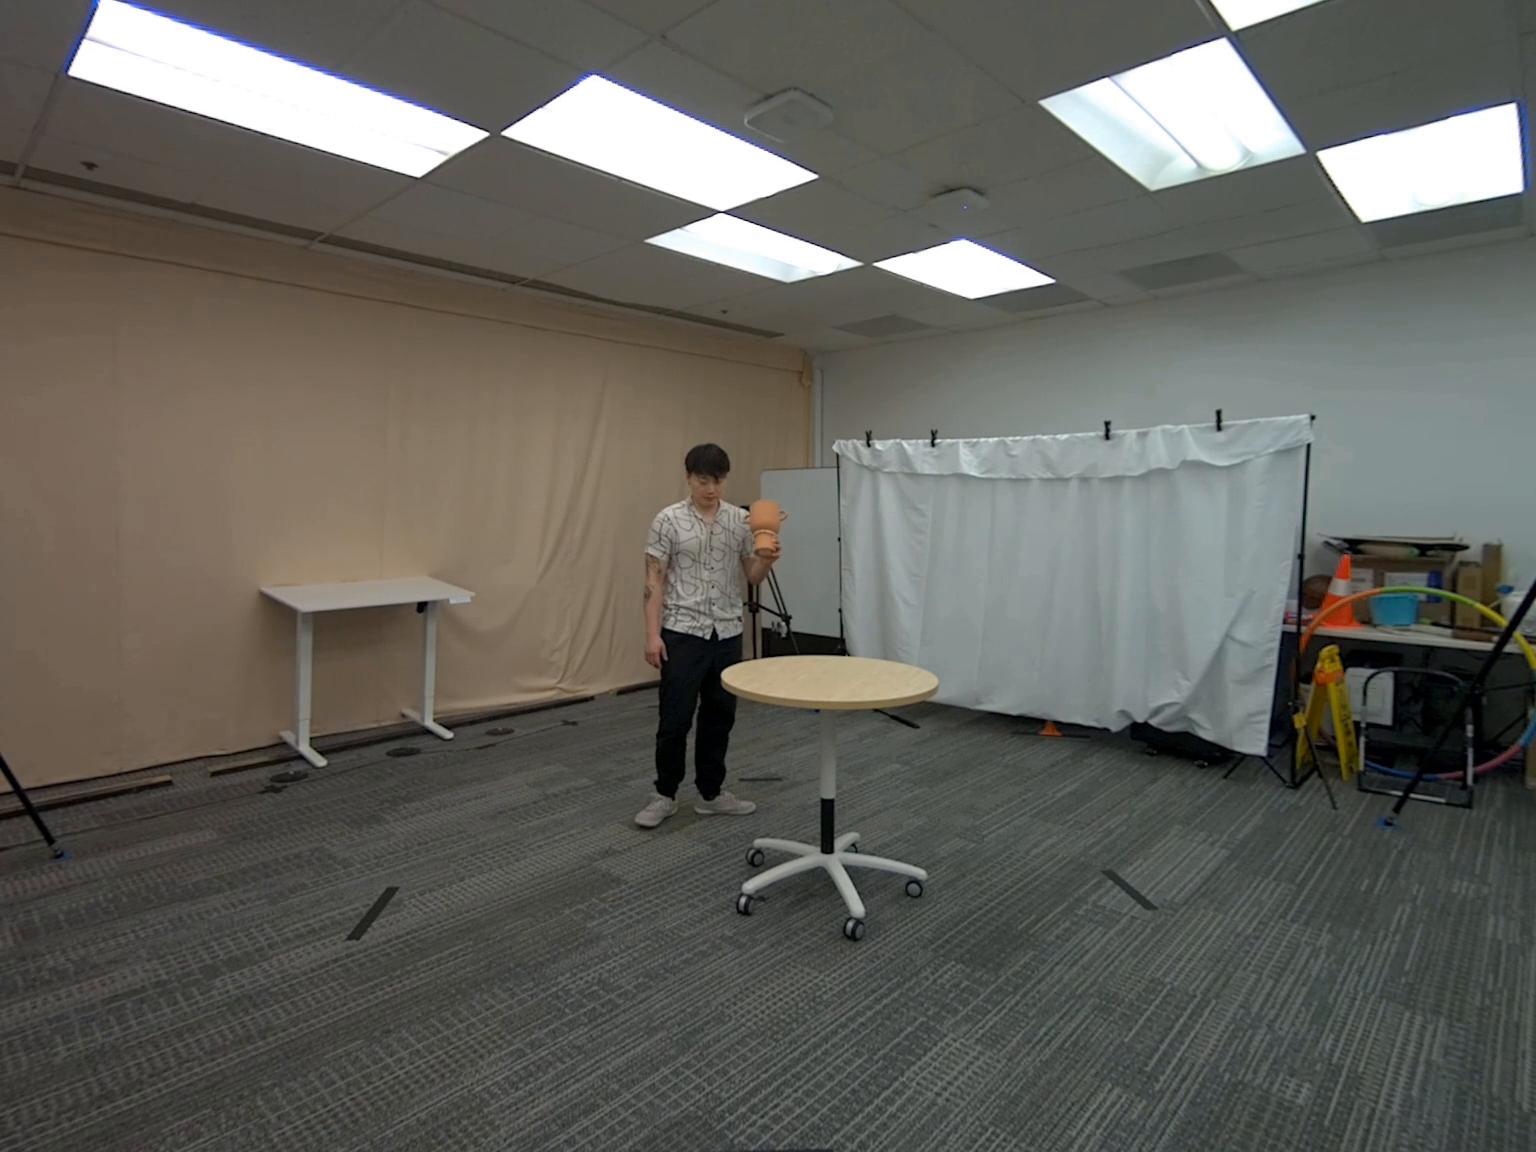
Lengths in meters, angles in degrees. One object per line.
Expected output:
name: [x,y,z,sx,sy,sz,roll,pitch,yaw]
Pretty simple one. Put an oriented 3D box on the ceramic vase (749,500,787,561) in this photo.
ceramic vase: [-0.010,-0.197,3.602,0.130,0.223,0.161,17,-29,-30]
